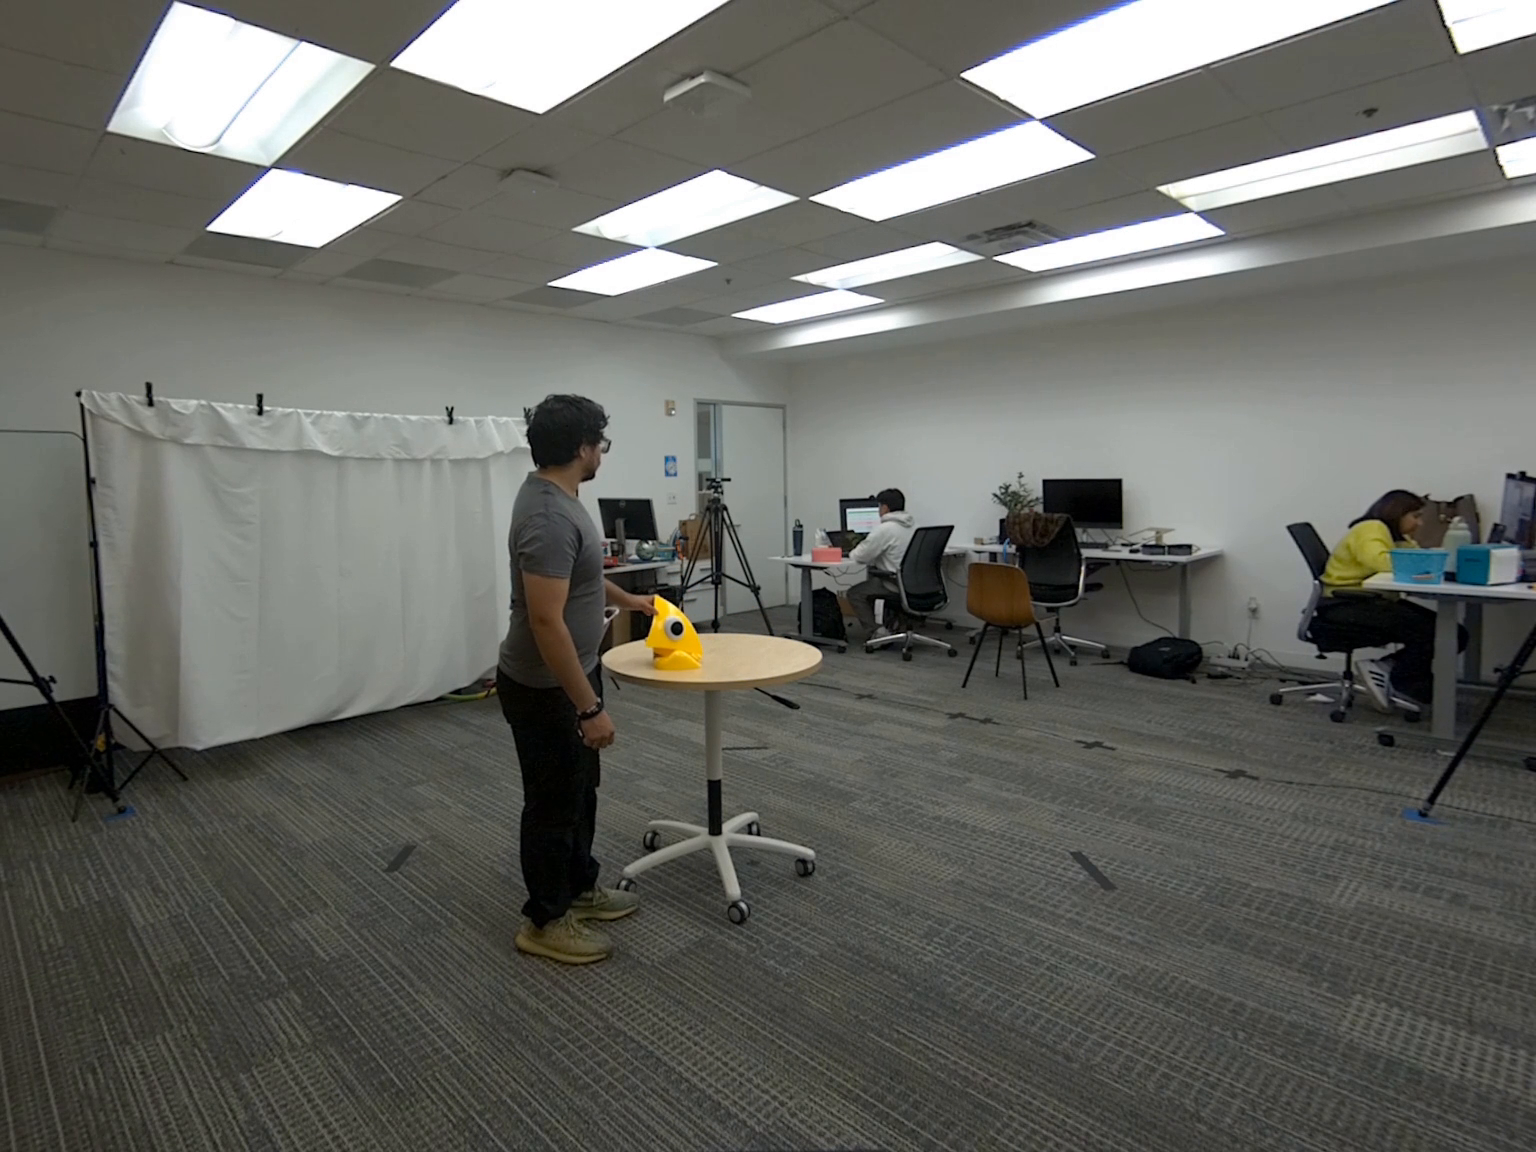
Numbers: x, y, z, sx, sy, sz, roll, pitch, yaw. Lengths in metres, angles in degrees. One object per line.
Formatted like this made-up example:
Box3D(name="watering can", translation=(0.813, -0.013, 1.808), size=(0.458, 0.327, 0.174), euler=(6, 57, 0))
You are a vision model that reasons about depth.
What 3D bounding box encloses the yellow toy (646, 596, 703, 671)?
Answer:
Box3D(name="yellow toy", translation=(-0.315, 0.177, 2.861), size=(0.193, 0.230, 0.206), euler=(-2, 5, -3))
